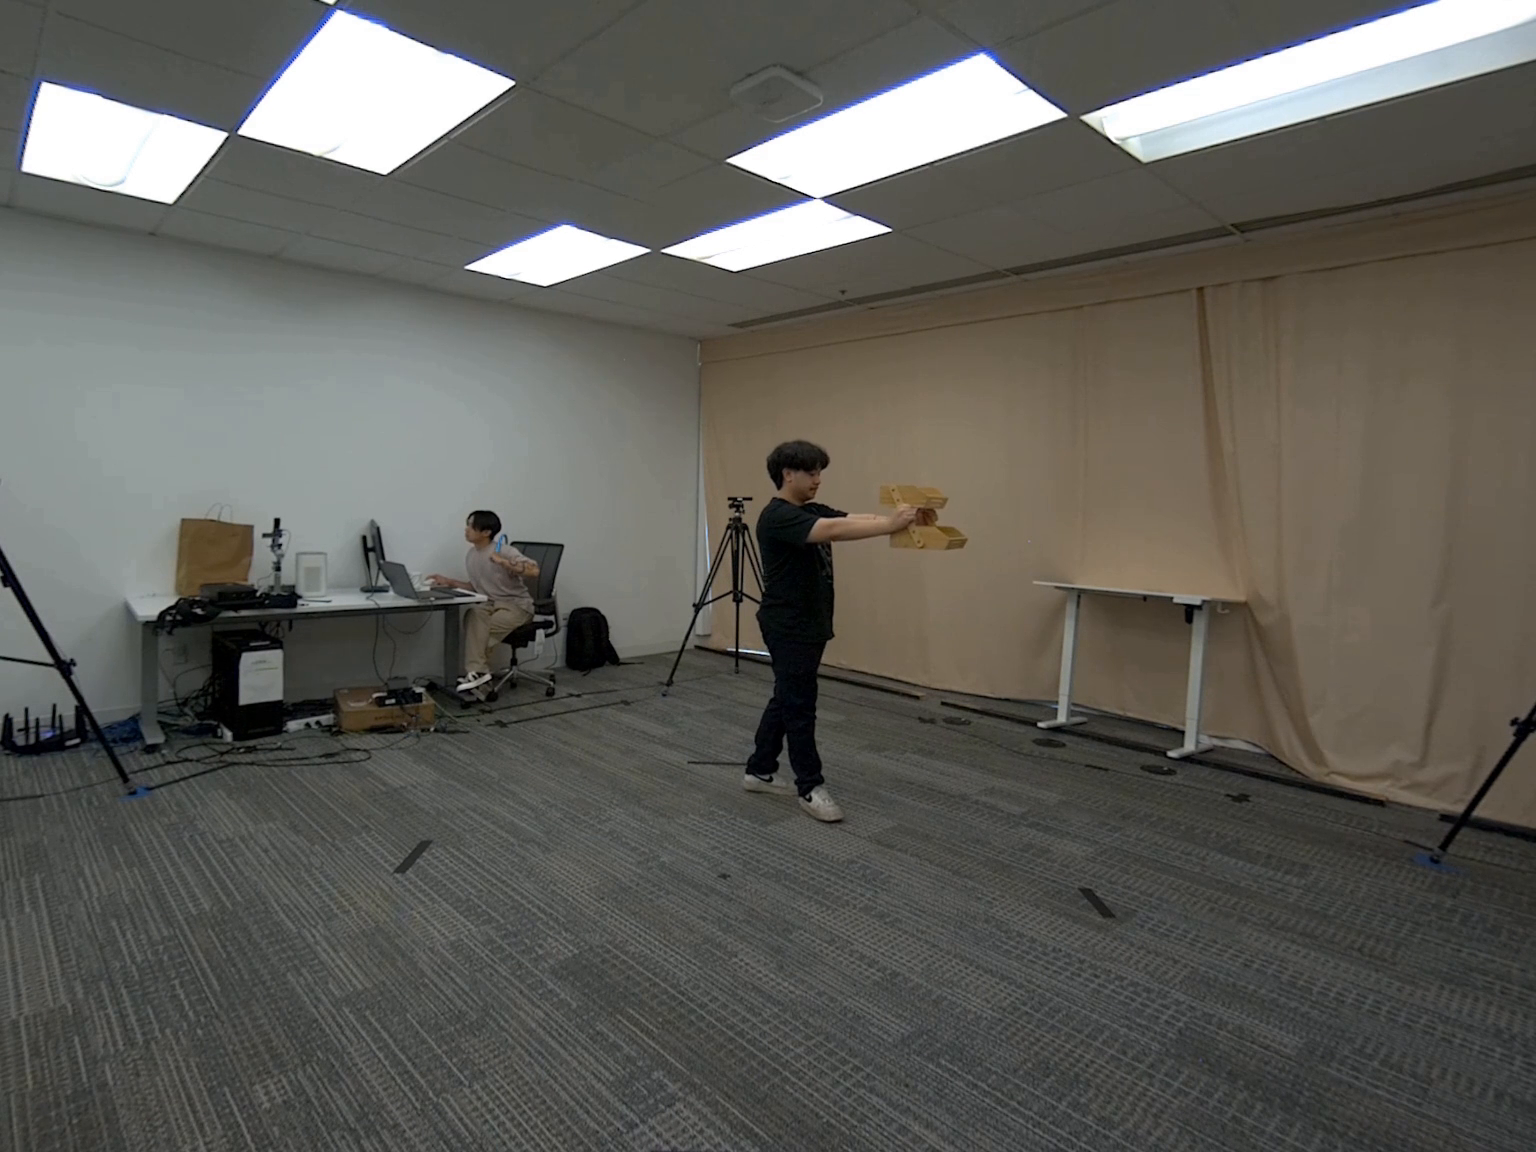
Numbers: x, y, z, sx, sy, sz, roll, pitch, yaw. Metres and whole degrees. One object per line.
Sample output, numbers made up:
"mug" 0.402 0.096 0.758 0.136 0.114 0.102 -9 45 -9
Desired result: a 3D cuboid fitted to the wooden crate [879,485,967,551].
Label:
"wooden crate" 0.668 -0.256 3.577 0.308 0.273 0.319 2 3 26
